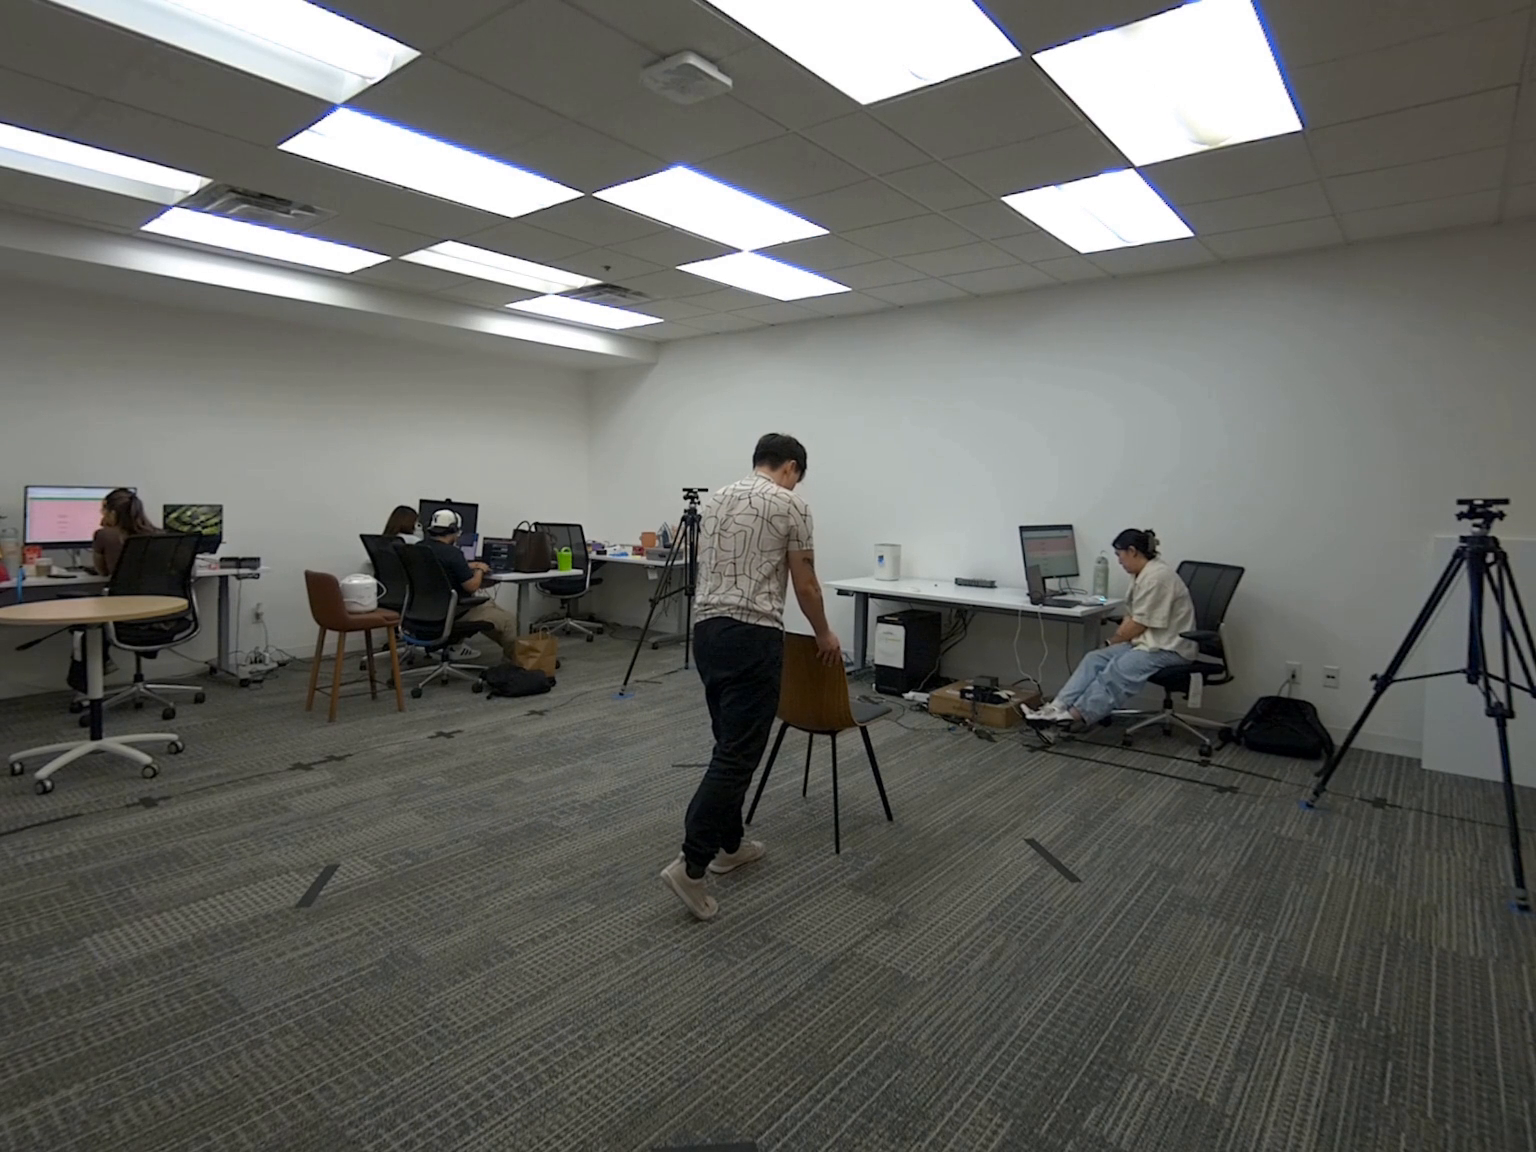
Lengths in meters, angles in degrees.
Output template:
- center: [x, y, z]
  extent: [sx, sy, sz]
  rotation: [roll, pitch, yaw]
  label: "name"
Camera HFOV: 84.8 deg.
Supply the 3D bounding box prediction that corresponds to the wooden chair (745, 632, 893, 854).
- center: [0.221, 0.605, 3.556]
  extent: [0.493, 0.872, 0.510]
  rotation: [3, 8, 36]
  label: "wooden chair"
